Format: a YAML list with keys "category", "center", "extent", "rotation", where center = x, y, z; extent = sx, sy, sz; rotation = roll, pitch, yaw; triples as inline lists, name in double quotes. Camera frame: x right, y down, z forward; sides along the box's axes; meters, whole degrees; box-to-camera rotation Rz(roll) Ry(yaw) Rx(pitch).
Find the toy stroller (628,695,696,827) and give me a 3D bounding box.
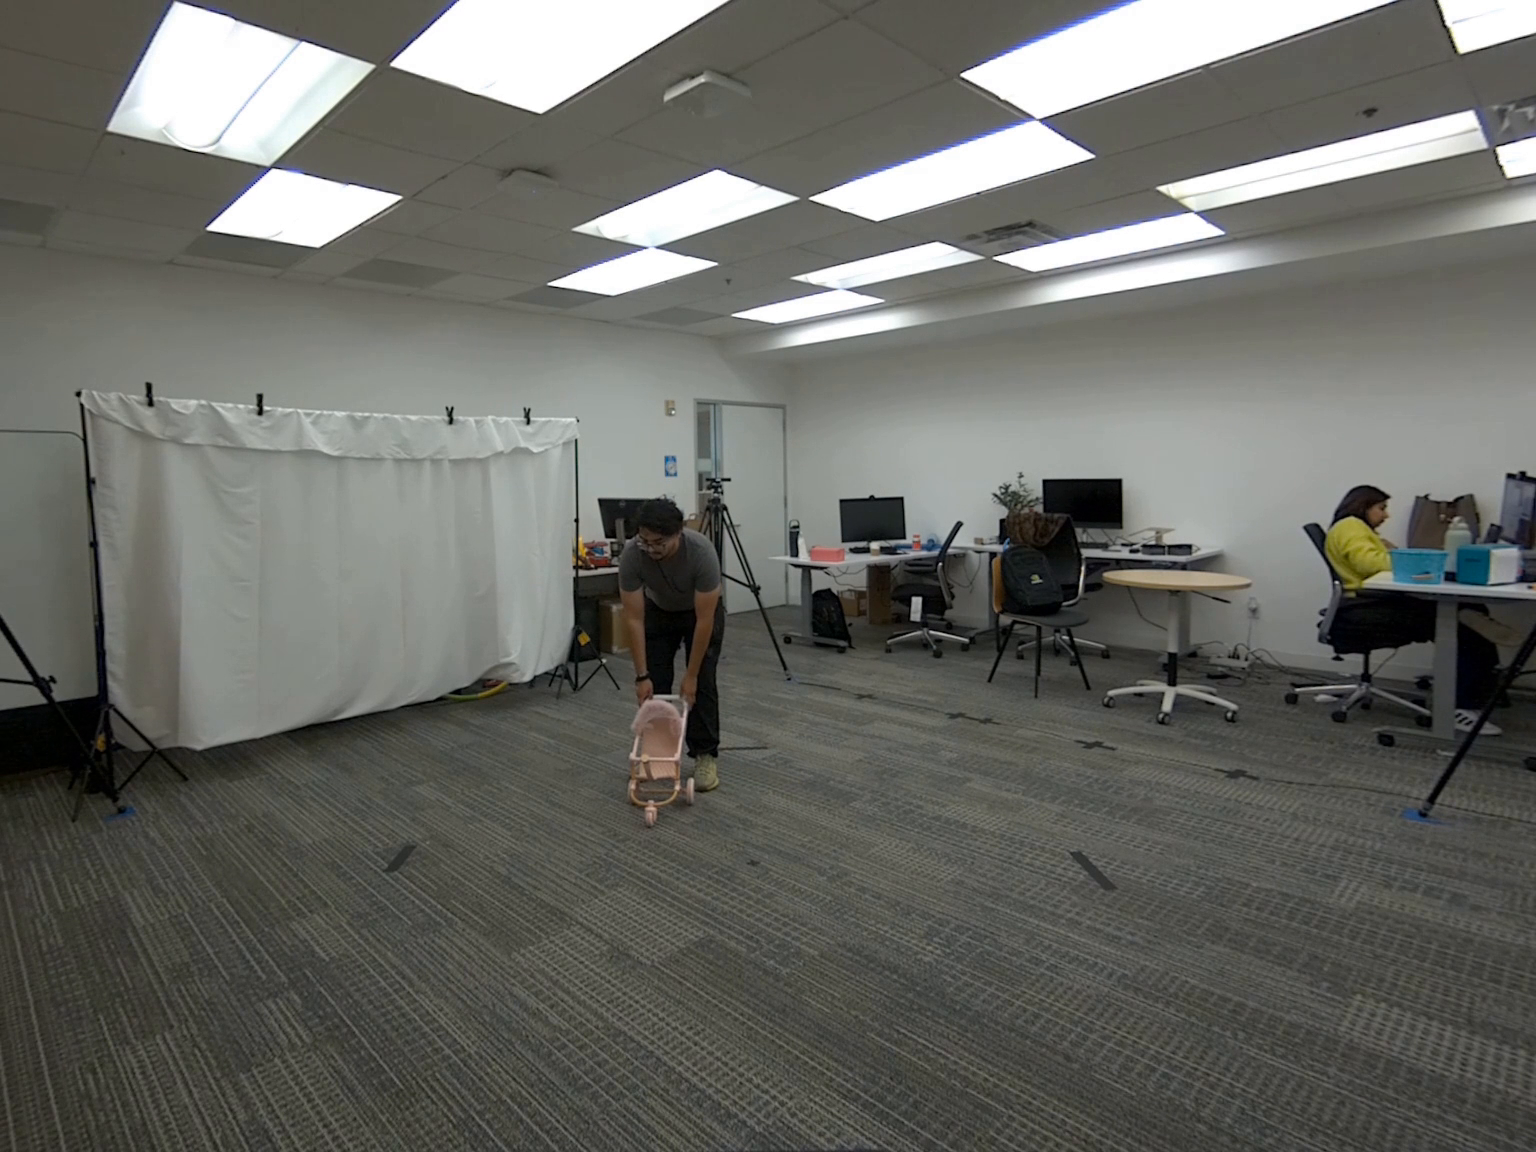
- category: "toy stroller"
  center: [-0.463, 0.776, 3.617]
  extent: [0.284, 0.541, 0.334]
  rotation: [-1, -11, 9]
